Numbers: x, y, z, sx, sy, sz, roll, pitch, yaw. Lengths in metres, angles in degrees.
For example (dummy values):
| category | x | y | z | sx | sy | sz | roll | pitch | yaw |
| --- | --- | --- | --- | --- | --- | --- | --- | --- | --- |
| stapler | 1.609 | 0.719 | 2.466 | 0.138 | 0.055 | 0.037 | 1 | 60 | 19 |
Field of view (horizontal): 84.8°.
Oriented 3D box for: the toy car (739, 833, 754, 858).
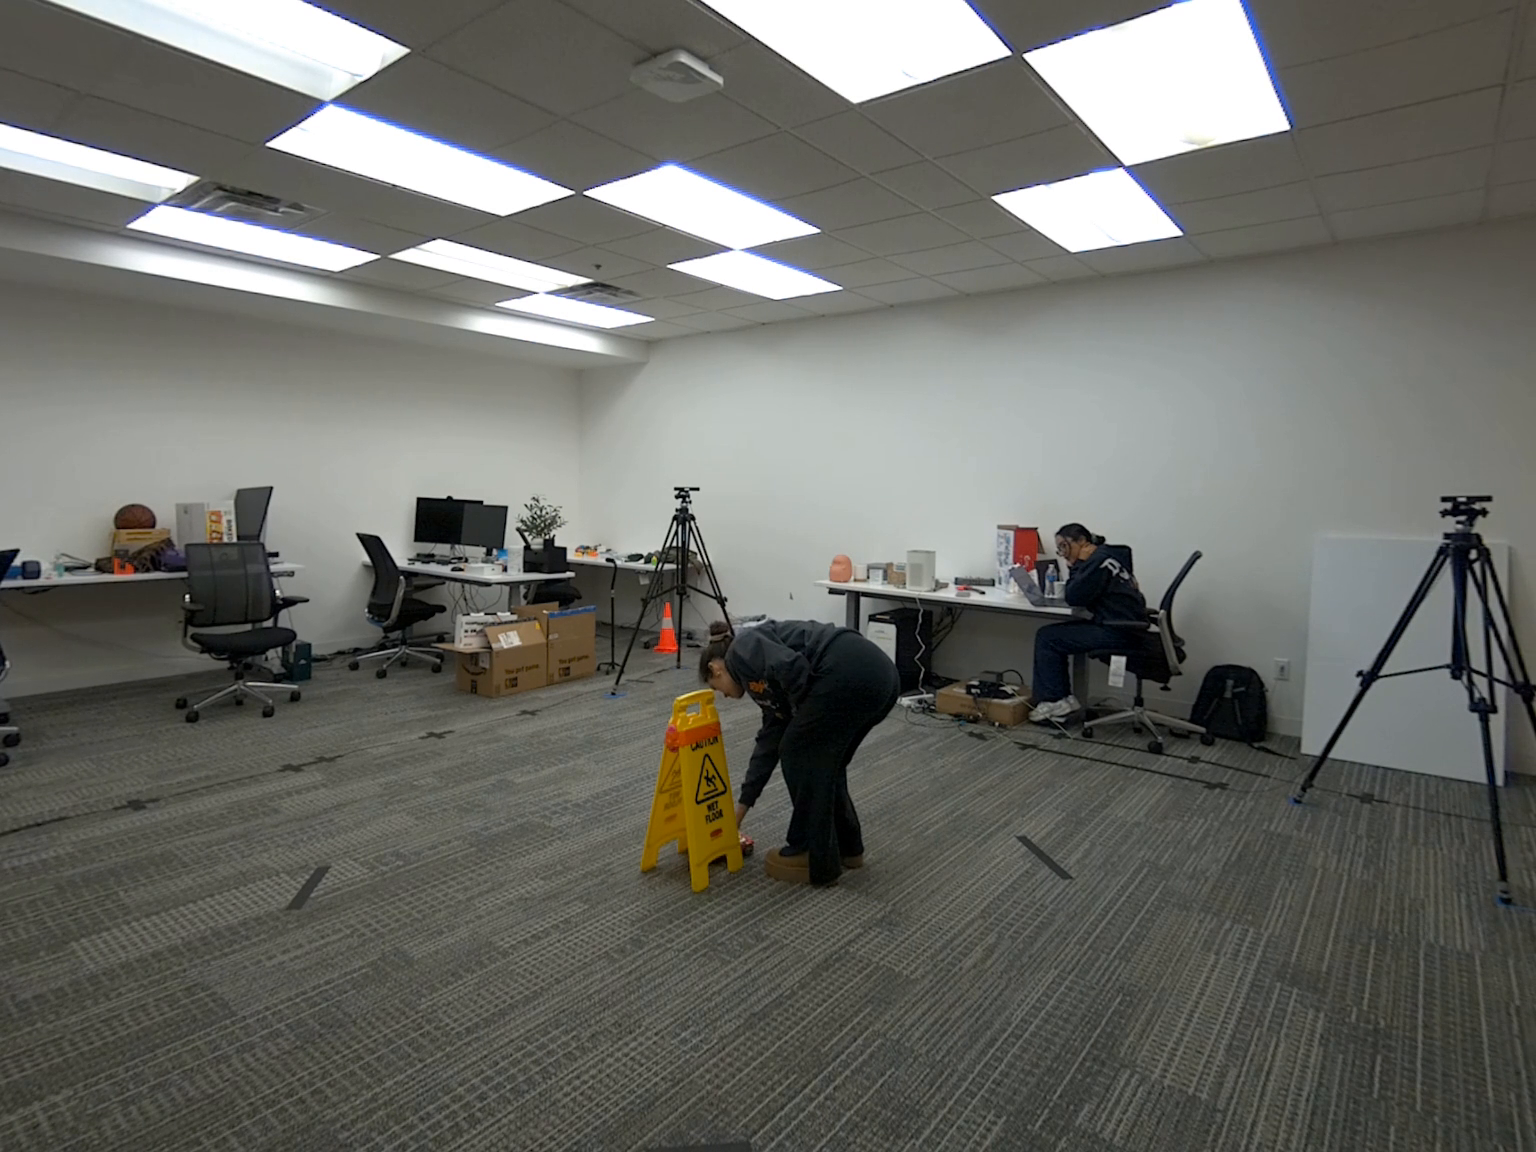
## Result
| category | x | y | z | sx | sy | sz | roll | pitch | yaw |
| --- | --- | --- | --- | --- | --- | --- | --- | --- | --- |
| toy car | -0.155 | 1.033 | 3.212 | 0.247 | 0.084 | 0.133 | 10 | -8 | -31 |
